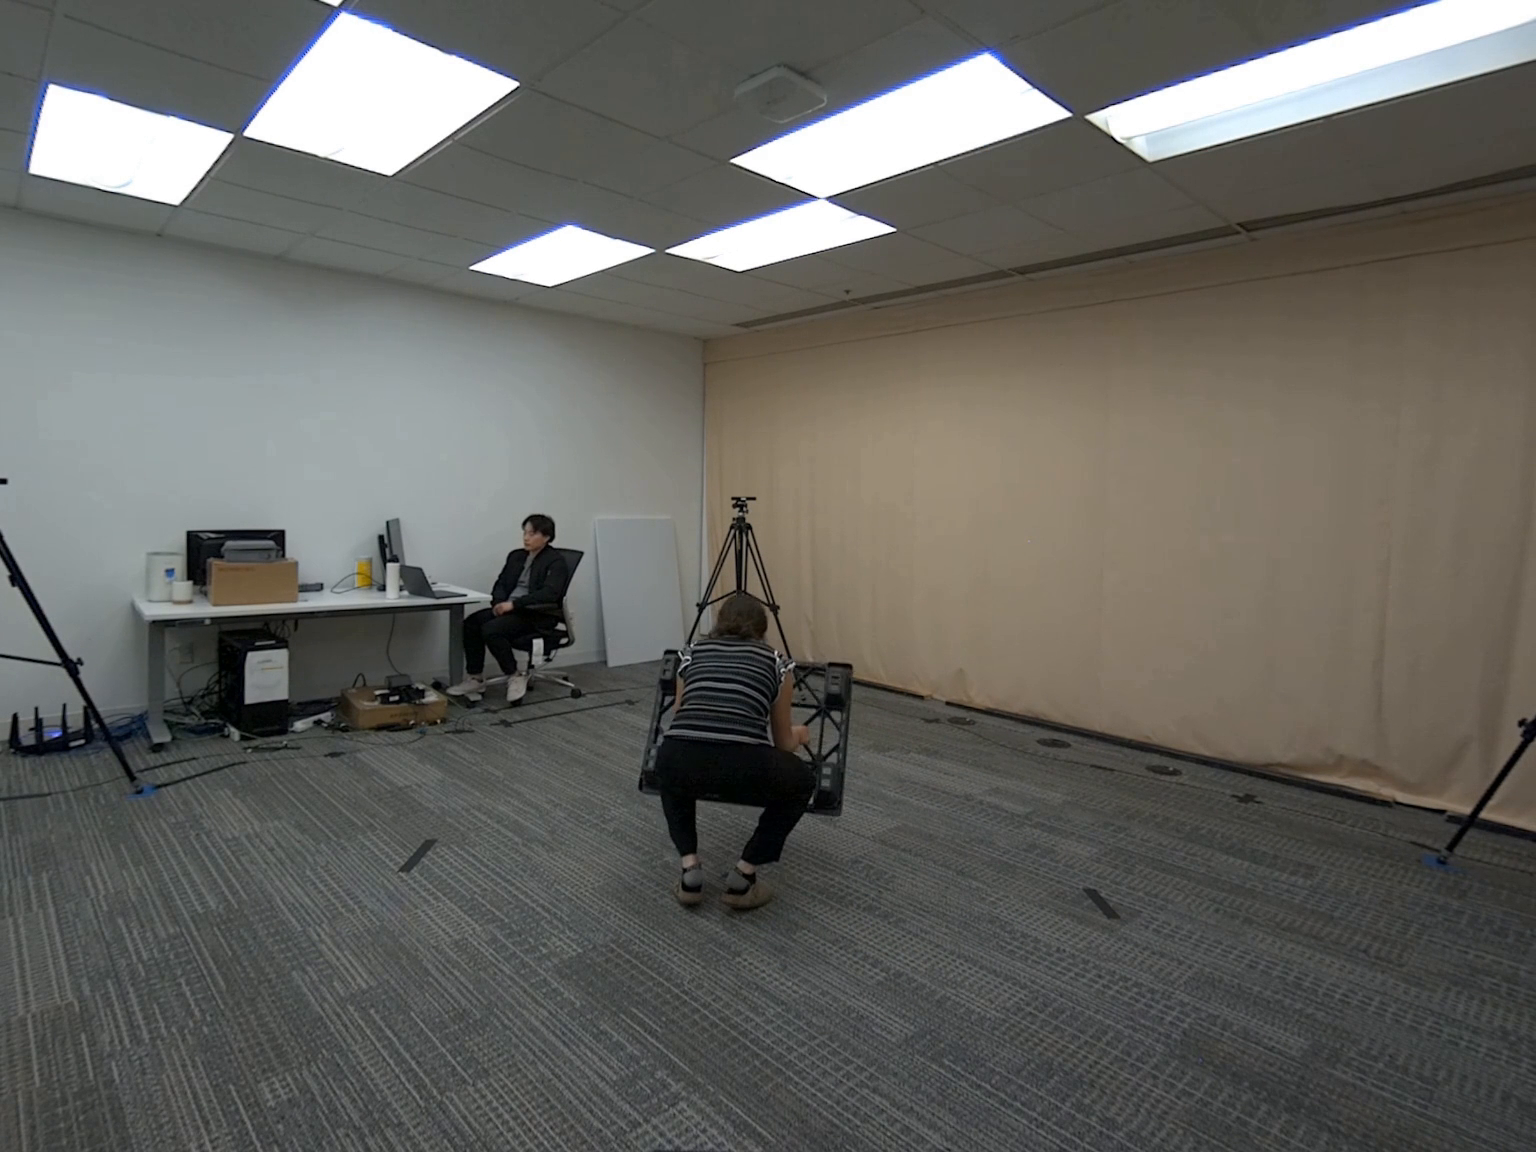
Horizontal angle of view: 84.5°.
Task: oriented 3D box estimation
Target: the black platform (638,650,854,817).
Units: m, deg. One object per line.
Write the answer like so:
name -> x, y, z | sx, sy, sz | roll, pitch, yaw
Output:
black platform -> -0.091, 0.590, 3.319 | 0.814, 0.614, 0.140 | 3, -27, 12
